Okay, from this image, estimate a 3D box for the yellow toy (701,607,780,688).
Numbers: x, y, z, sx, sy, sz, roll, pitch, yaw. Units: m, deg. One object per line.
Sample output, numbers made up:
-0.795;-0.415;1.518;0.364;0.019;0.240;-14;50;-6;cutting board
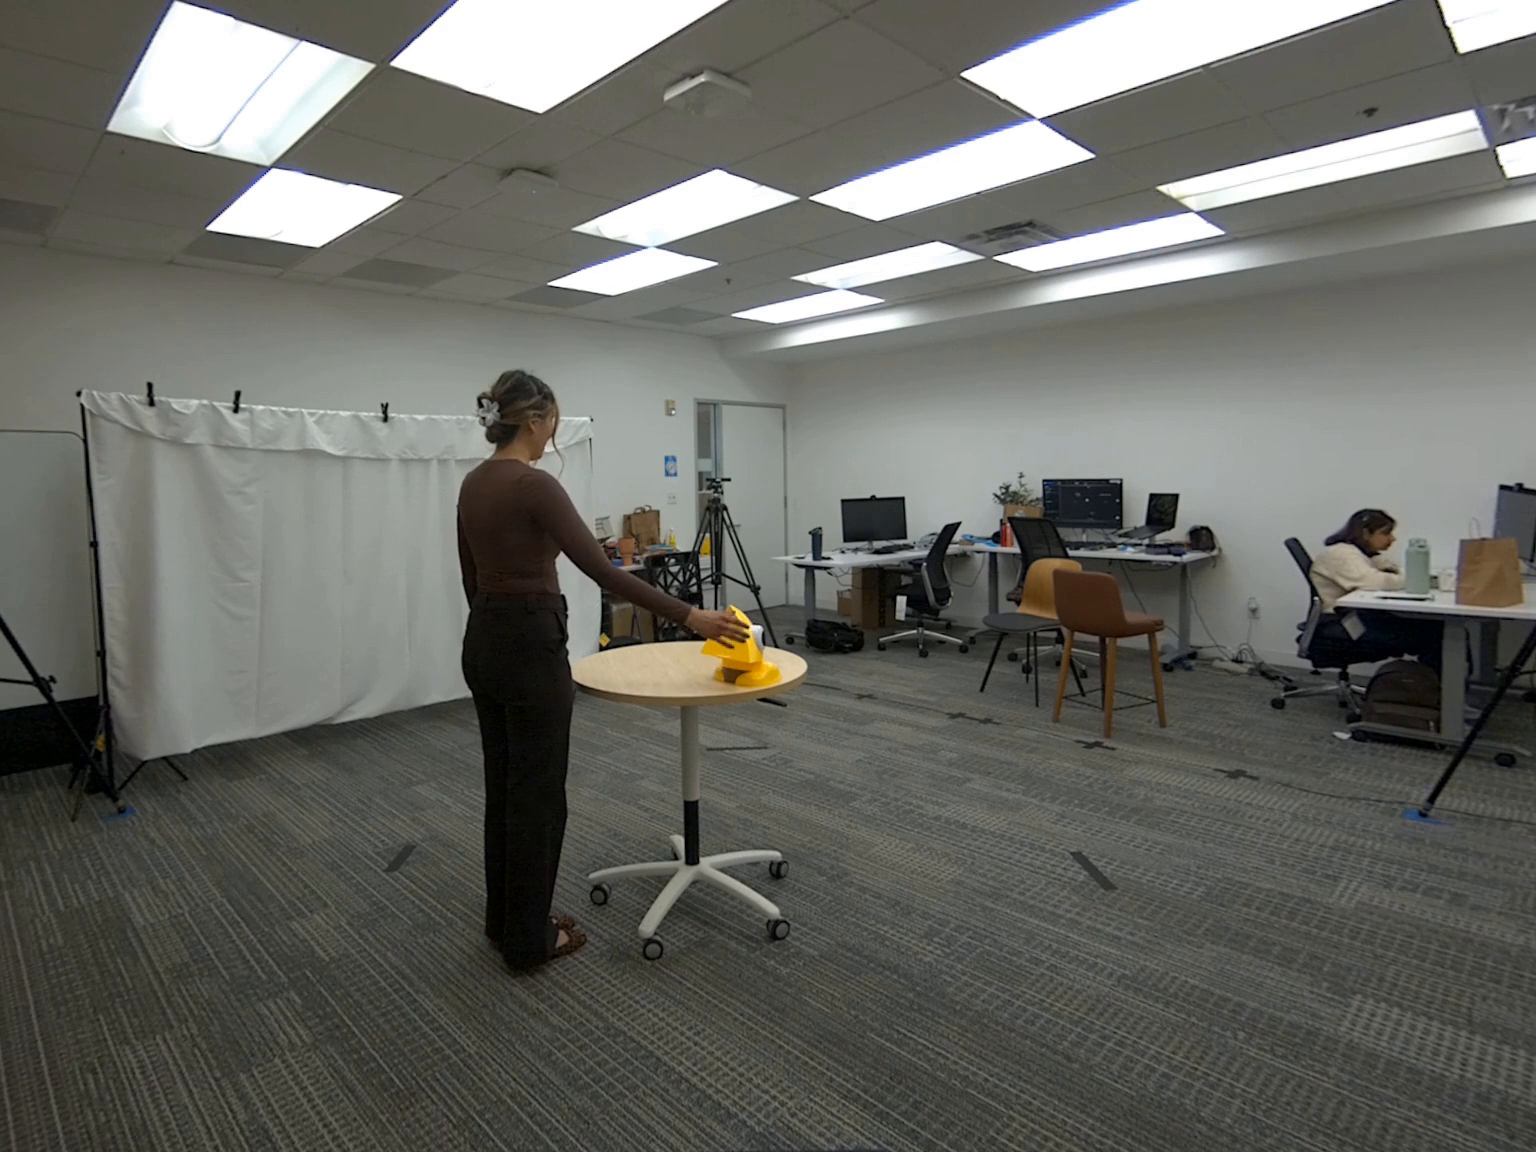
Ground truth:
-0.069;0.195;2.568;0.211;0.230;0.188;5;6;41;yellow toy
